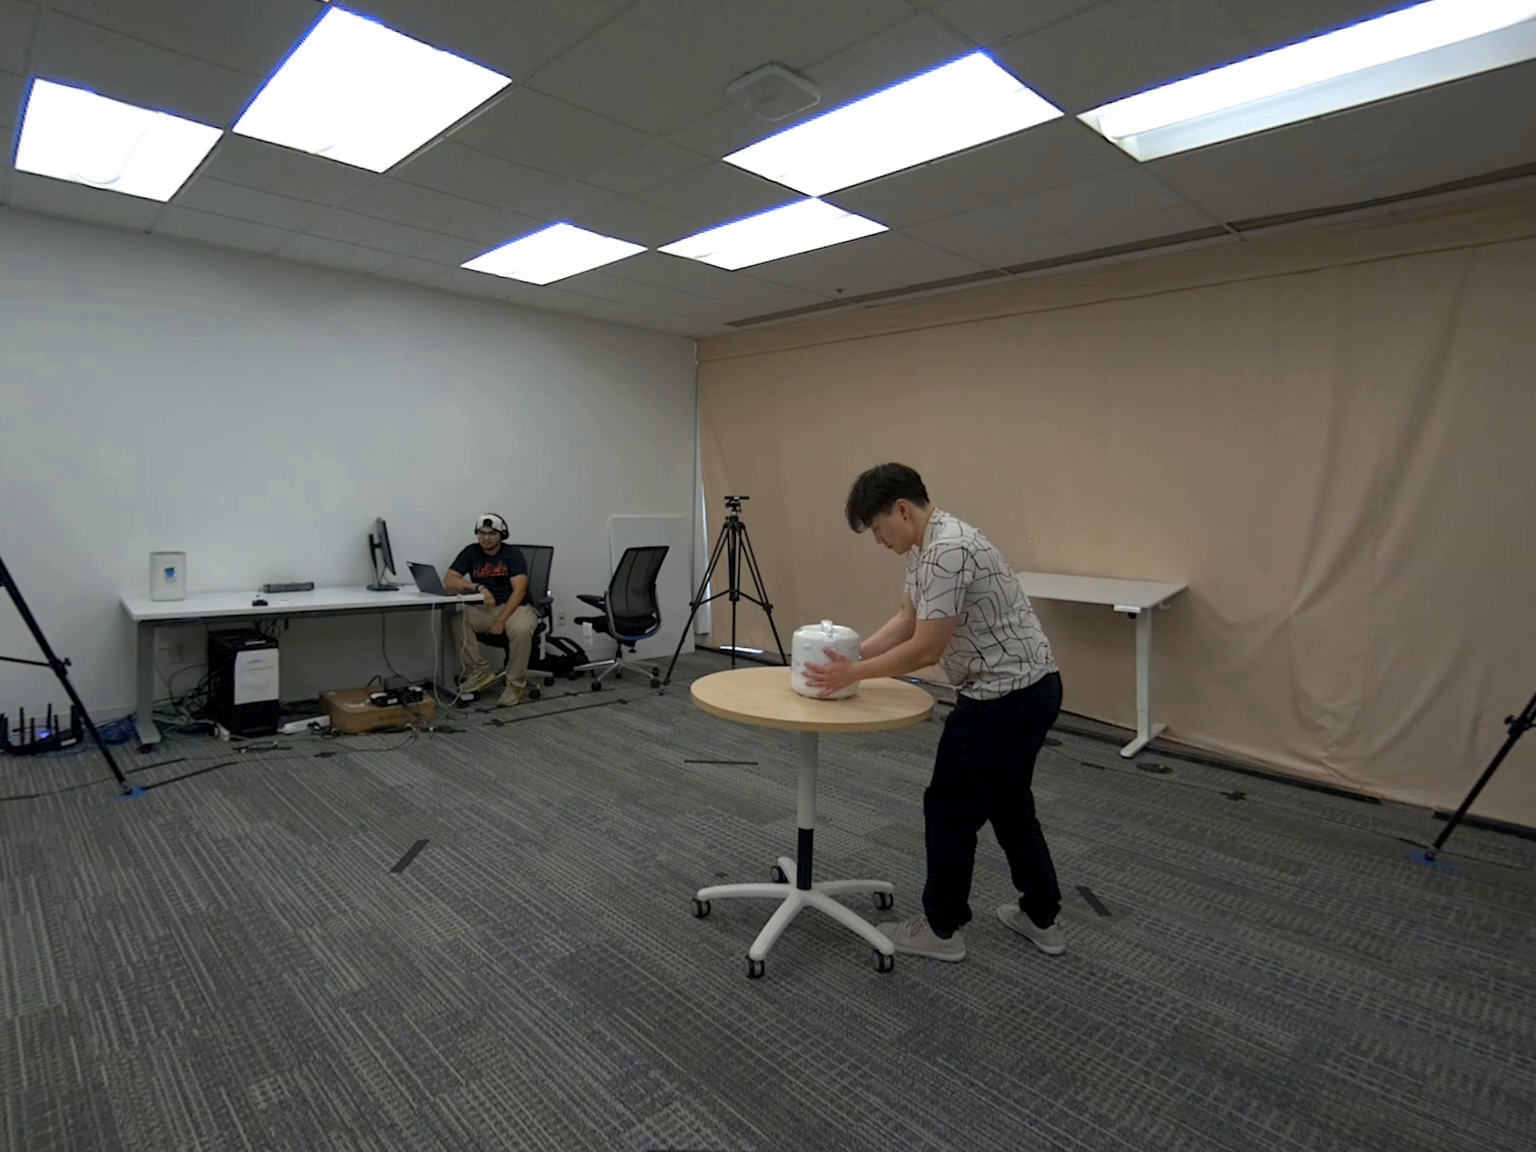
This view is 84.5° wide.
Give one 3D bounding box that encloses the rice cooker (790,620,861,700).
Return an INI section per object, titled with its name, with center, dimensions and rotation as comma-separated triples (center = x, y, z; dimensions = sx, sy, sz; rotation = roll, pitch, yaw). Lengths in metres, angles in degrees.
[rice cooker]
center = 0.180, 0.255, 2.648
dimensions = 0.217, 0.232, 0.221
rotation = 1, 5, -1
